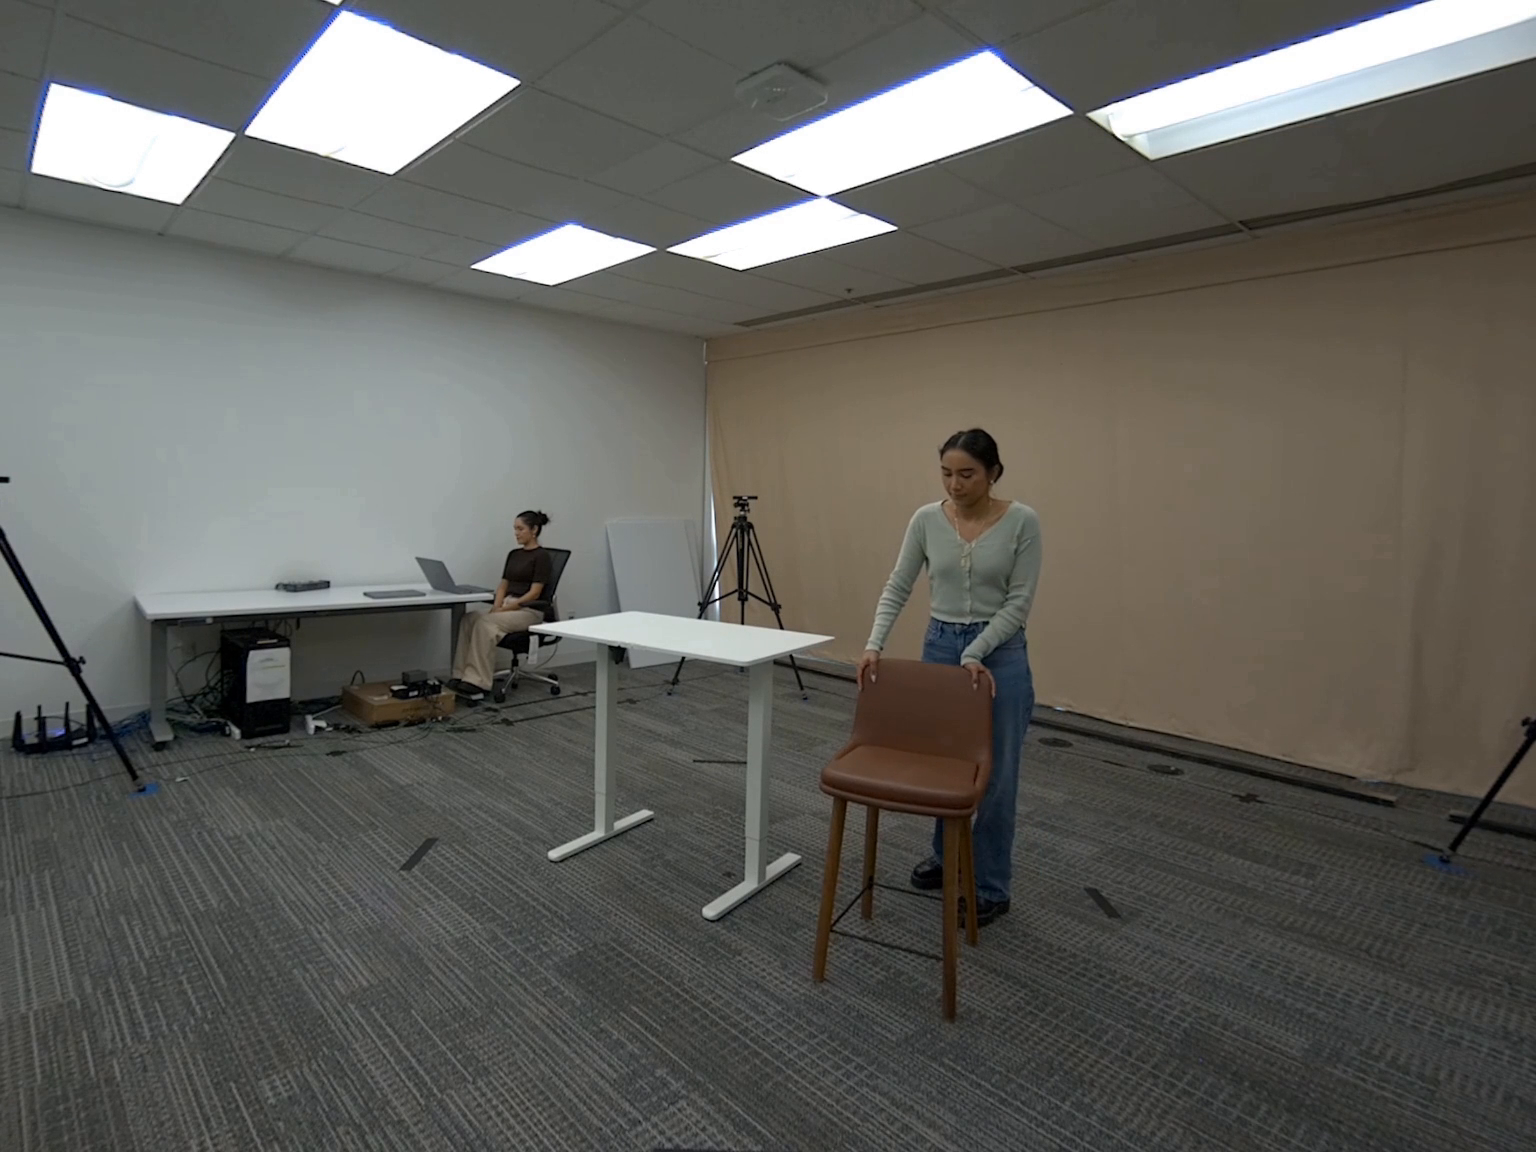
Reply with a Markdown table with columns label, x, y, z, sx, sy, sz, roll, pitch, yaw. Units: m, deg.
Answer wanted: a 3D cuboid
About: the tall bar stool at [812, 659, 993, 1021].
| label | x | y | z | sx | sy | sz | roll | pitch | yaw |
| --- | --- | --- | --- | --- | --- | --- | --- | --- | --- |
| tall bar stool | 0.416 | 0.735 | 2.522 | 0.466 | 0.889 | 0.459 | 3 | 2 | 26 |
